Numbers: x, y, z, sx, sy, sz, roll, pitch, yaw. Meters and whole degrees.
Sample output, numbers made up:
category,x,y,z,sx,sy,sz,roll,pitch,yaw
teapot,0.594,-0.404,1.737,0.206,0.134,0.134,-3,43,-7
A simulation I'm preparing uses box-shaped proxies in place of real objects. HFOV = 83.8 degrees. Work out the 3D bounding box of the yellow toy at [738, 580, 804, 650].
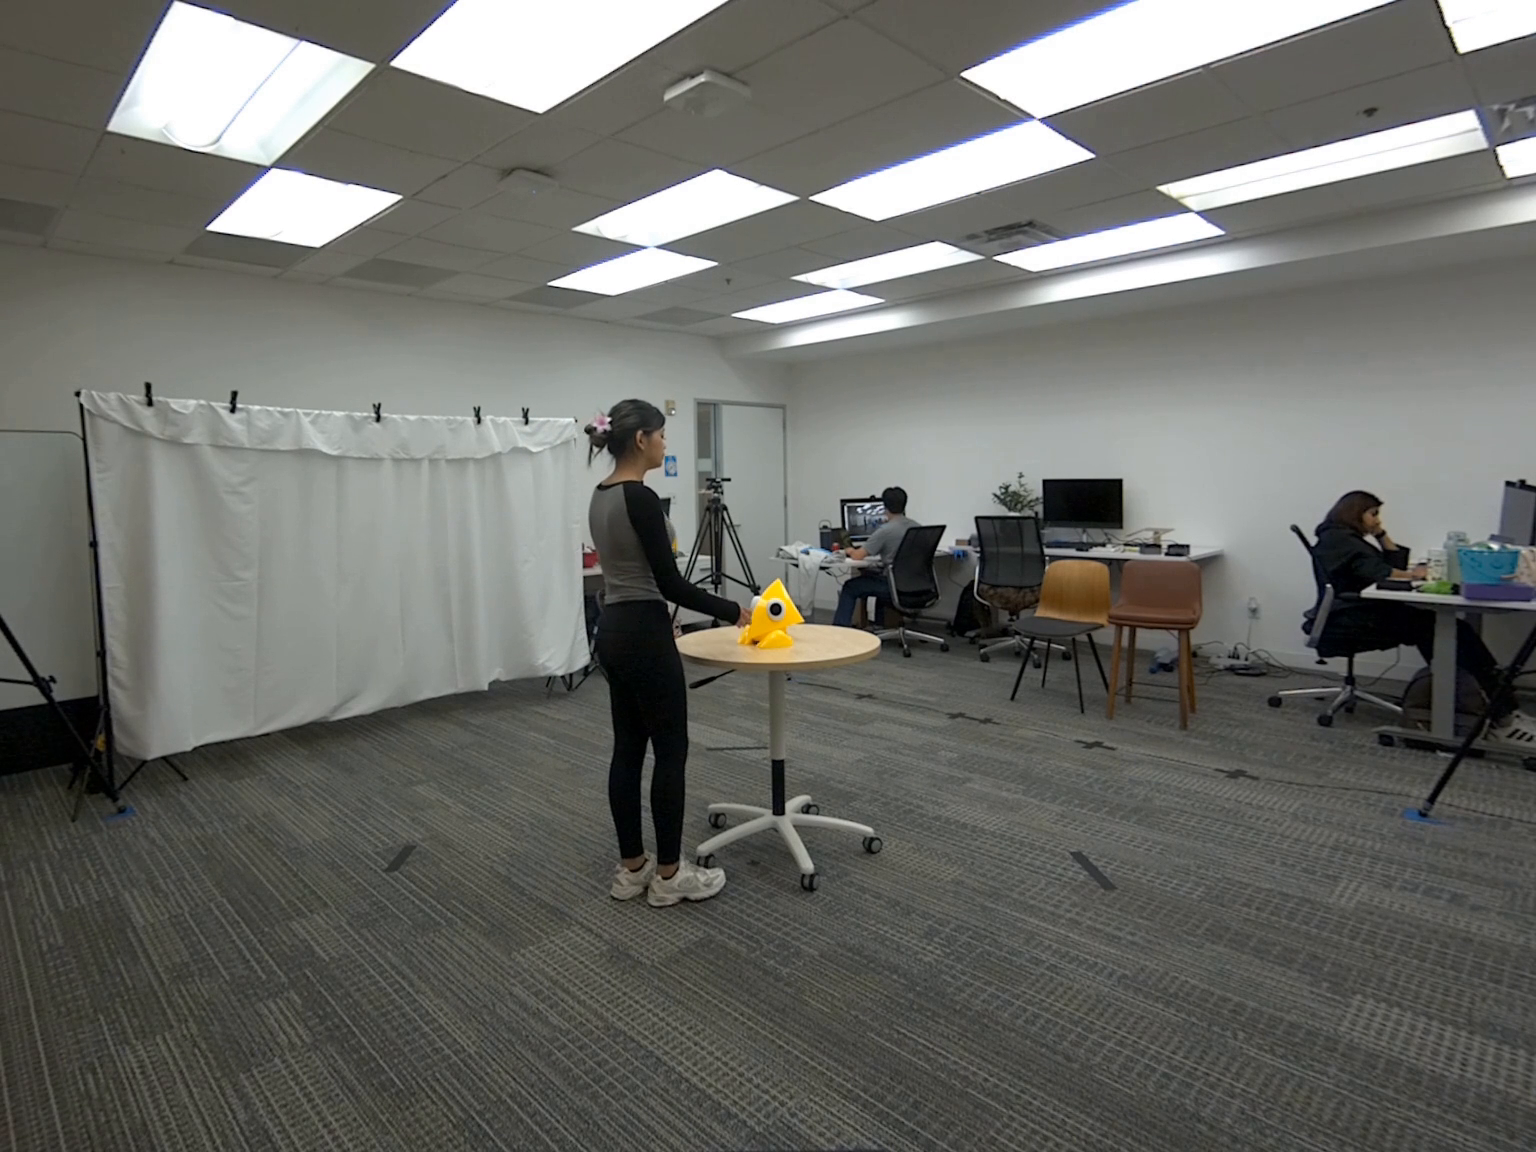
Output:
category,x,y,z,sx,sy,sz,roll,pitch,yaw
yellow toy,-0.002,0.132,3.122,0.188,0.230,0.211,-6,6,-39
